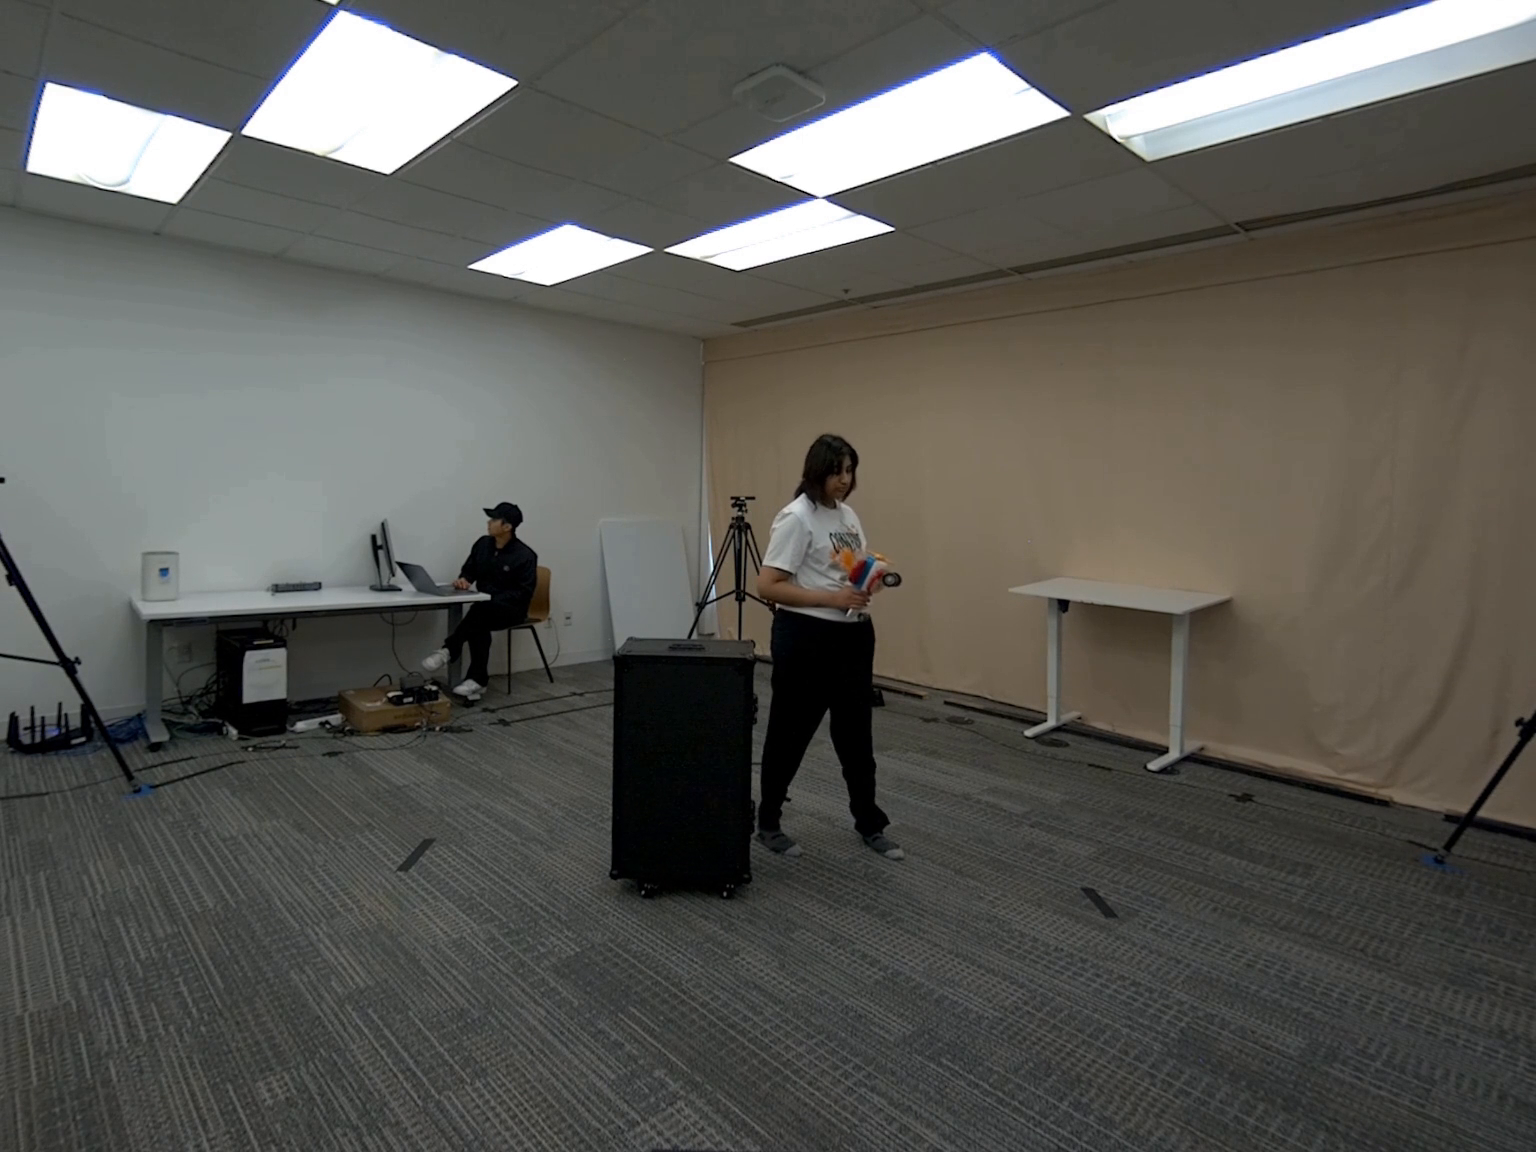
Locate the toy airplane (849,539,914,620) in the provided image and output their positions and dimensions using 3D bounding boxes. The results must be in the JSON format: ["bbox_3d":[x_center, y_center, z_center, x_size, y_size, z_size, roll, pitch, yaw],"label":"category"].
[{"bbox_3d":[0.365,0.045,3.111,0.258,0.159,0.247,-39,-17,-14],"label":"toy airplane"}]
